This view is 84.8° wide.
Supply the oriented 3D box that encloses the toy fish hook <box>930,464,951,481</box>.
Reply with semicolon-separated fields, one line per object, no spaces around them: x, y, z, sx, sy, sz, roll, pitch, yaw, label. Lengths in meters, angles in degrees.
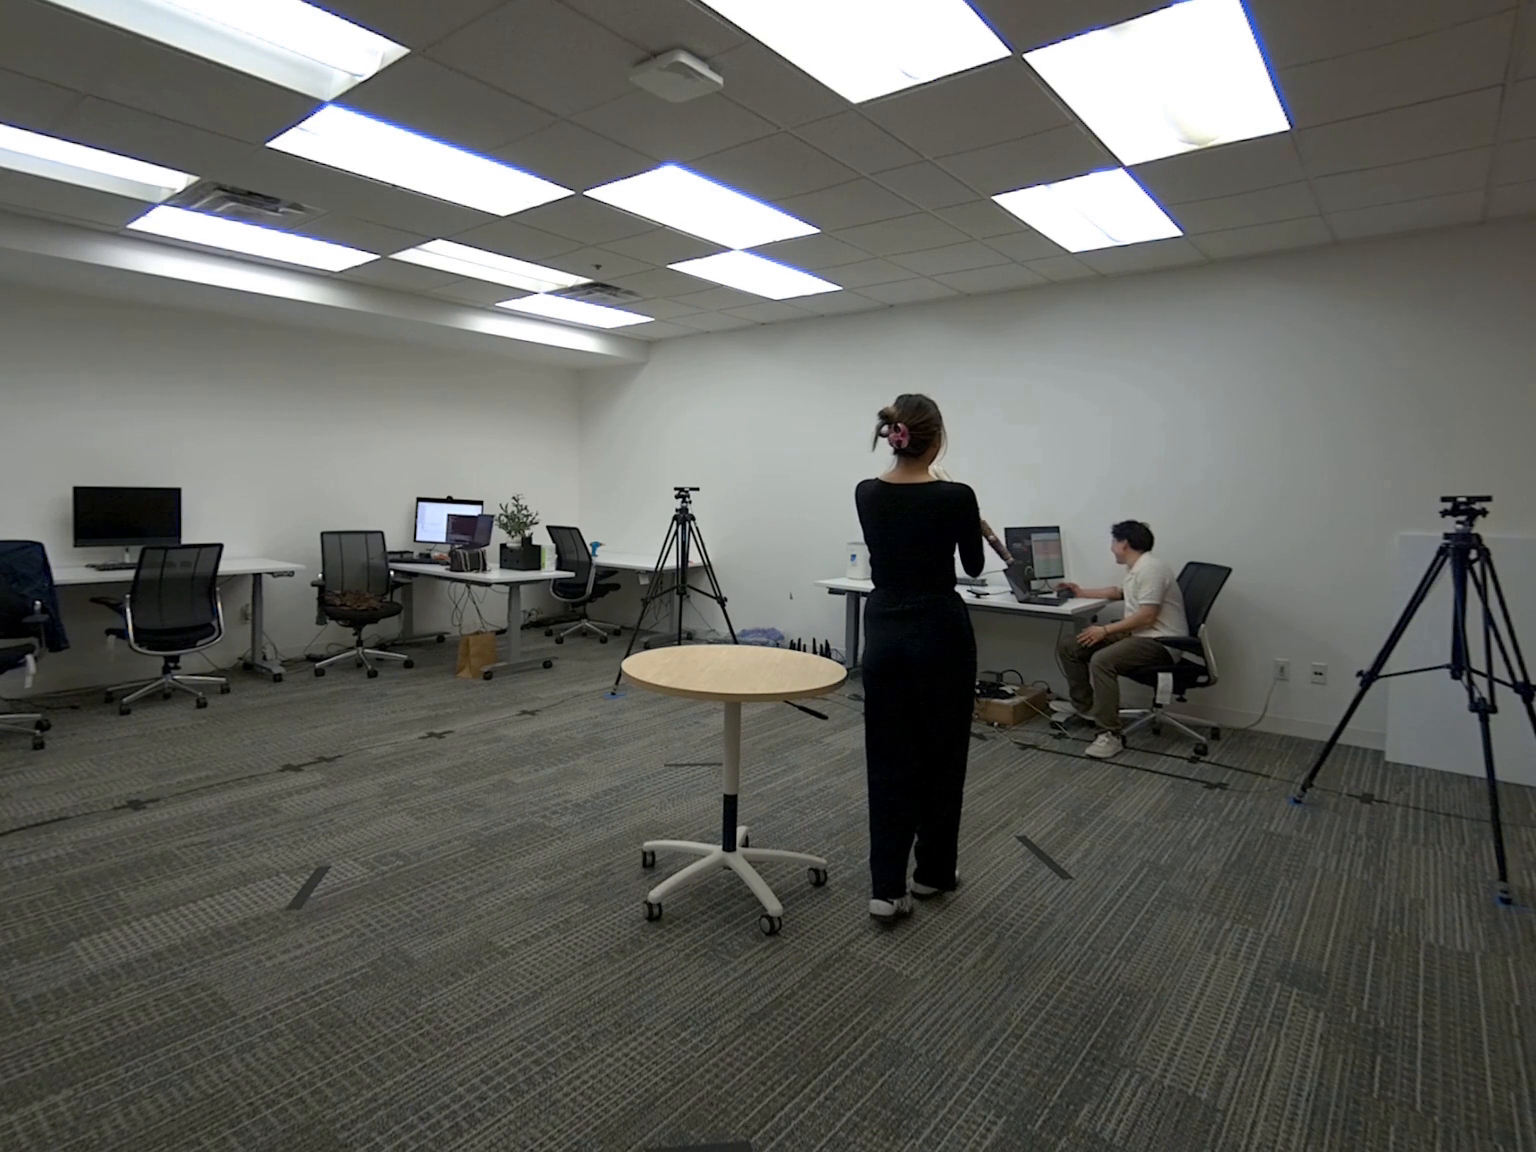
0.777;-0.233;3.244;0.048;0.524;0.216;-39;-30;18;toy fish hook
